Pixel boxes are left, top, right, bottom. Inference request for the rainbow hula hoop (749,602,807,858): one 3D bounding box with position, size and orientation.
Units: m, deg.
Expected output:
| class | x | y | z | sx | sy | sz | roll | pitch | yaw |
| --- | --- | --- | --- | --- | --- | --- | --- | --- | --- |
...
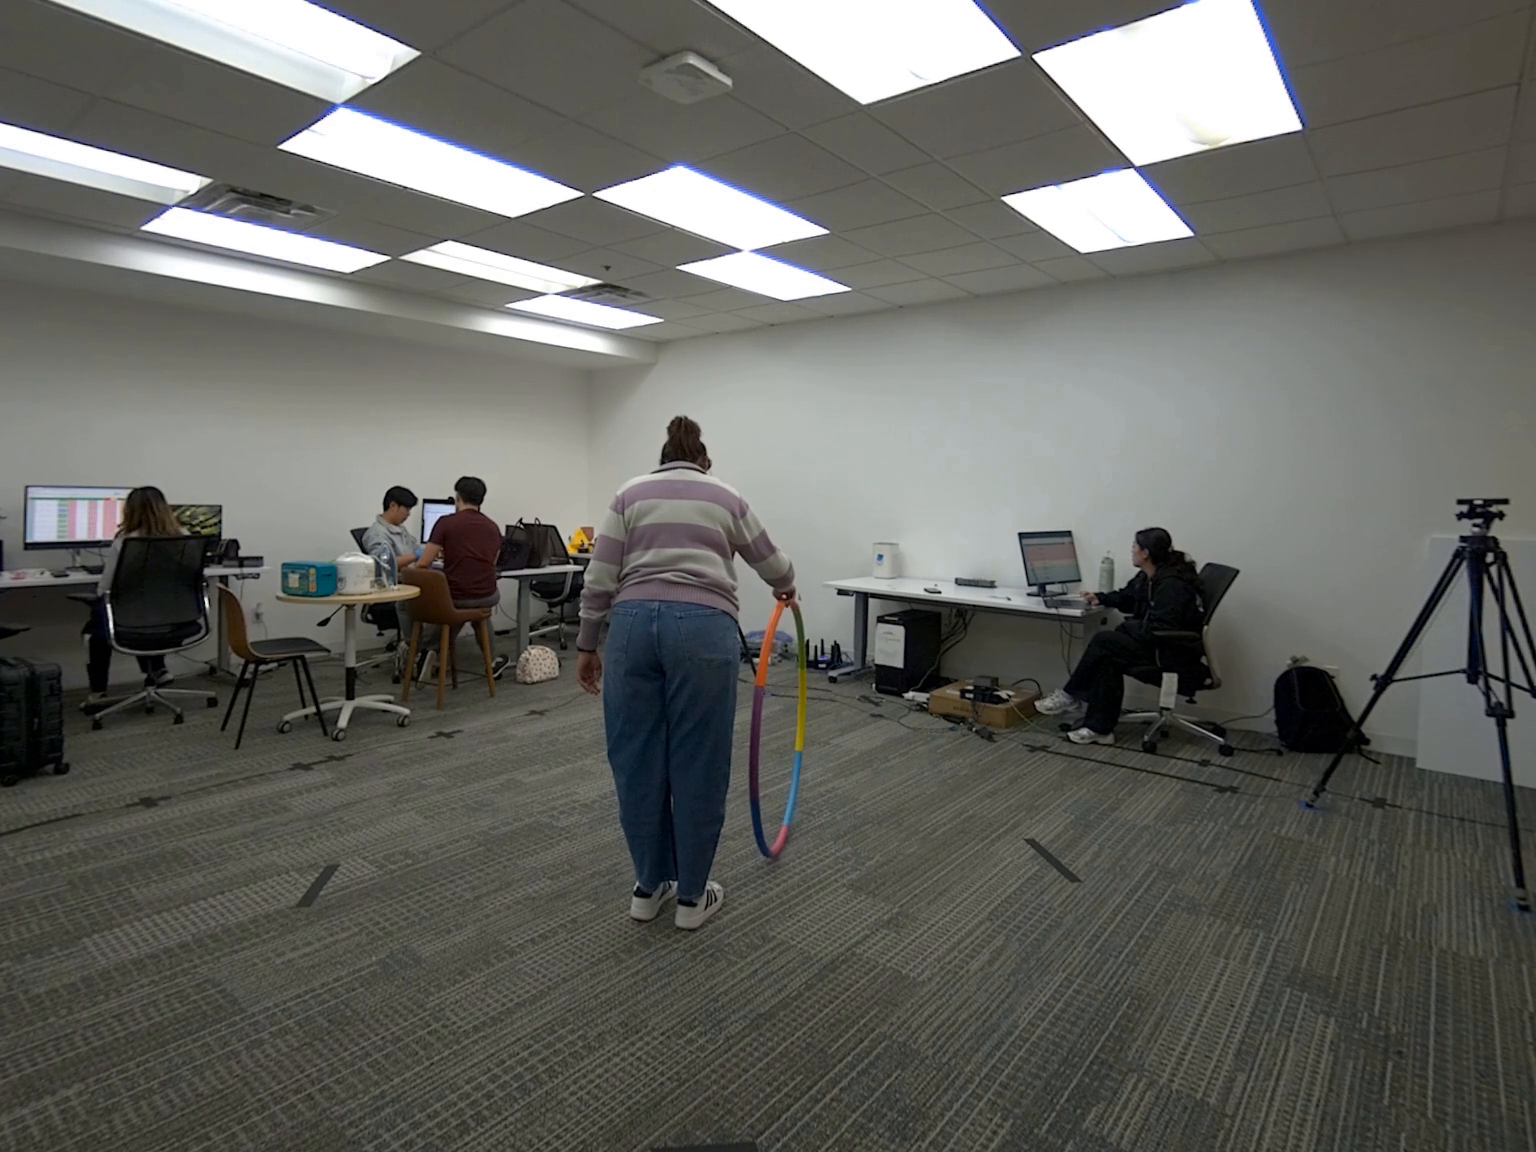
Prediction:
| class | x | y | z | sx | sy | sz | roll | pitch | yaw |
| --- | --- | --- | --- | --- | --- | --- | --- | --- | --- |
| rainbow hula hoop | 0.042 | 0.570 | 3.294 | 0.036 | 0.976 | 0.966 | 2 | 4 | 13 |
